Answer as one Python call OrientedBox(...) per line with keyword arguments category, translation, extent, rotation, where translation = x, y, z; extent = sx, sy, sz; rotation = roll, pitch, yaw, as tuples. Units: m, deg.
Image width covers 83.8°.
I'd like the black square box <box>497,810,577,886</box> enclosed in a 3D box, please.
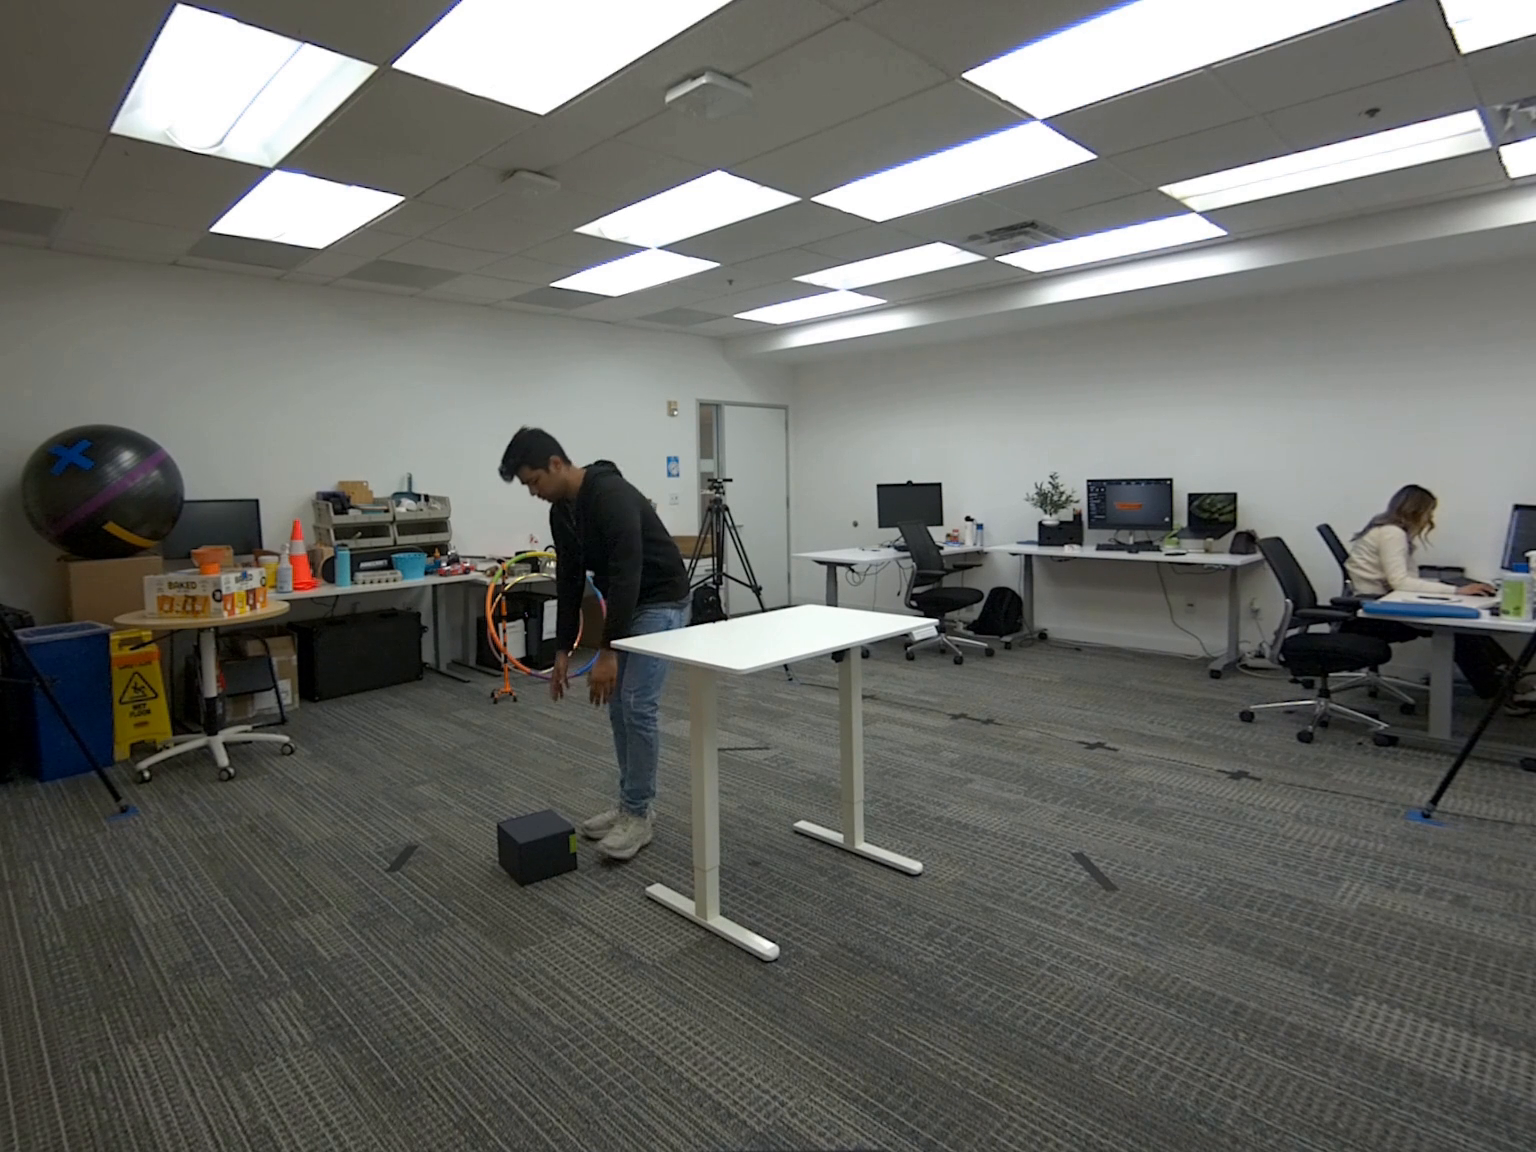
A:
OrientedBox(category="black square box", translation=(-0.834, 0.978, 3.101), extent=(0.211, 0.155, 0.235), rotation=(-6, 7, -37))
